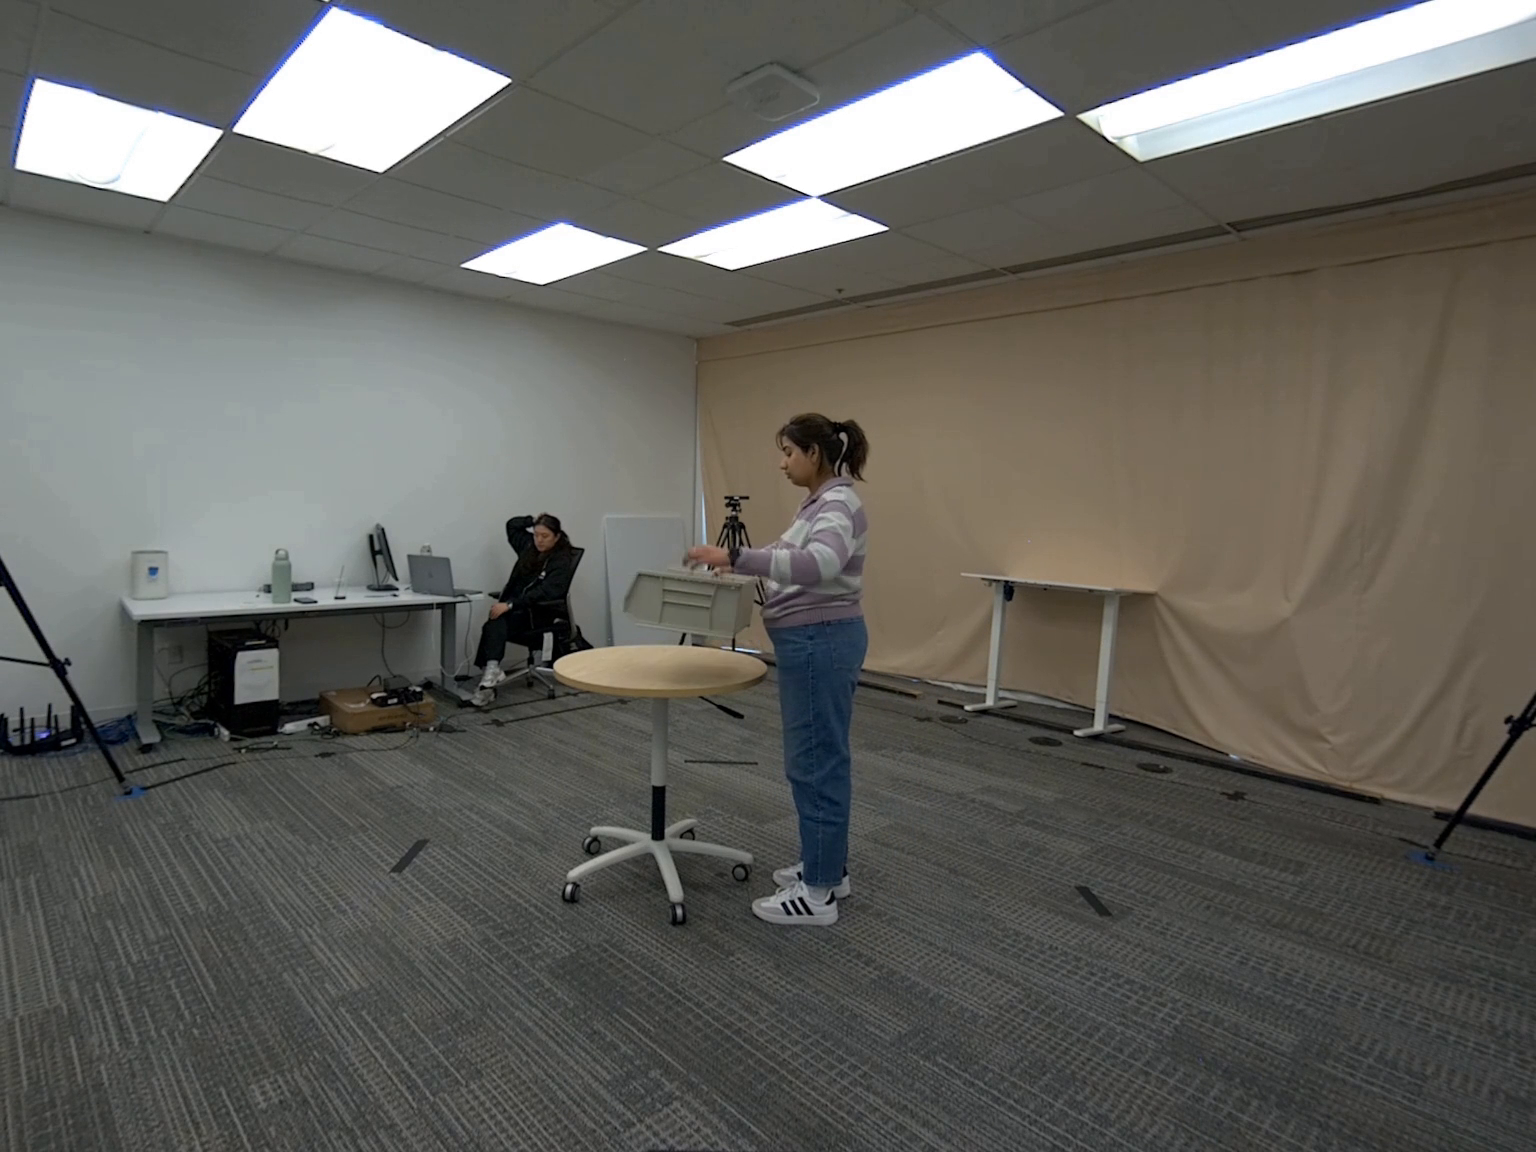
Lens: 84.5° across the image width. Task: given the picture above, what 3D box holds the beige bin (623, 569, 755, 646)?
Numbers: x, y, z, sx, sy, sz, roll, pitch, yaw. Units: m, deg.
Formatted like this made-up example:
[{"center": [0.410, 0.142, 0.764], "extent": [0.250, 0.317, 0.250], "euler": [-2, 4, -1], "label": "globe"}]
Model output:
[{"center": [-0.250, 0.089, 2.849], "extent": [0.381, 0.188, 0.420], "euler": [8, 5, 9], "label": "beige bin"}]
